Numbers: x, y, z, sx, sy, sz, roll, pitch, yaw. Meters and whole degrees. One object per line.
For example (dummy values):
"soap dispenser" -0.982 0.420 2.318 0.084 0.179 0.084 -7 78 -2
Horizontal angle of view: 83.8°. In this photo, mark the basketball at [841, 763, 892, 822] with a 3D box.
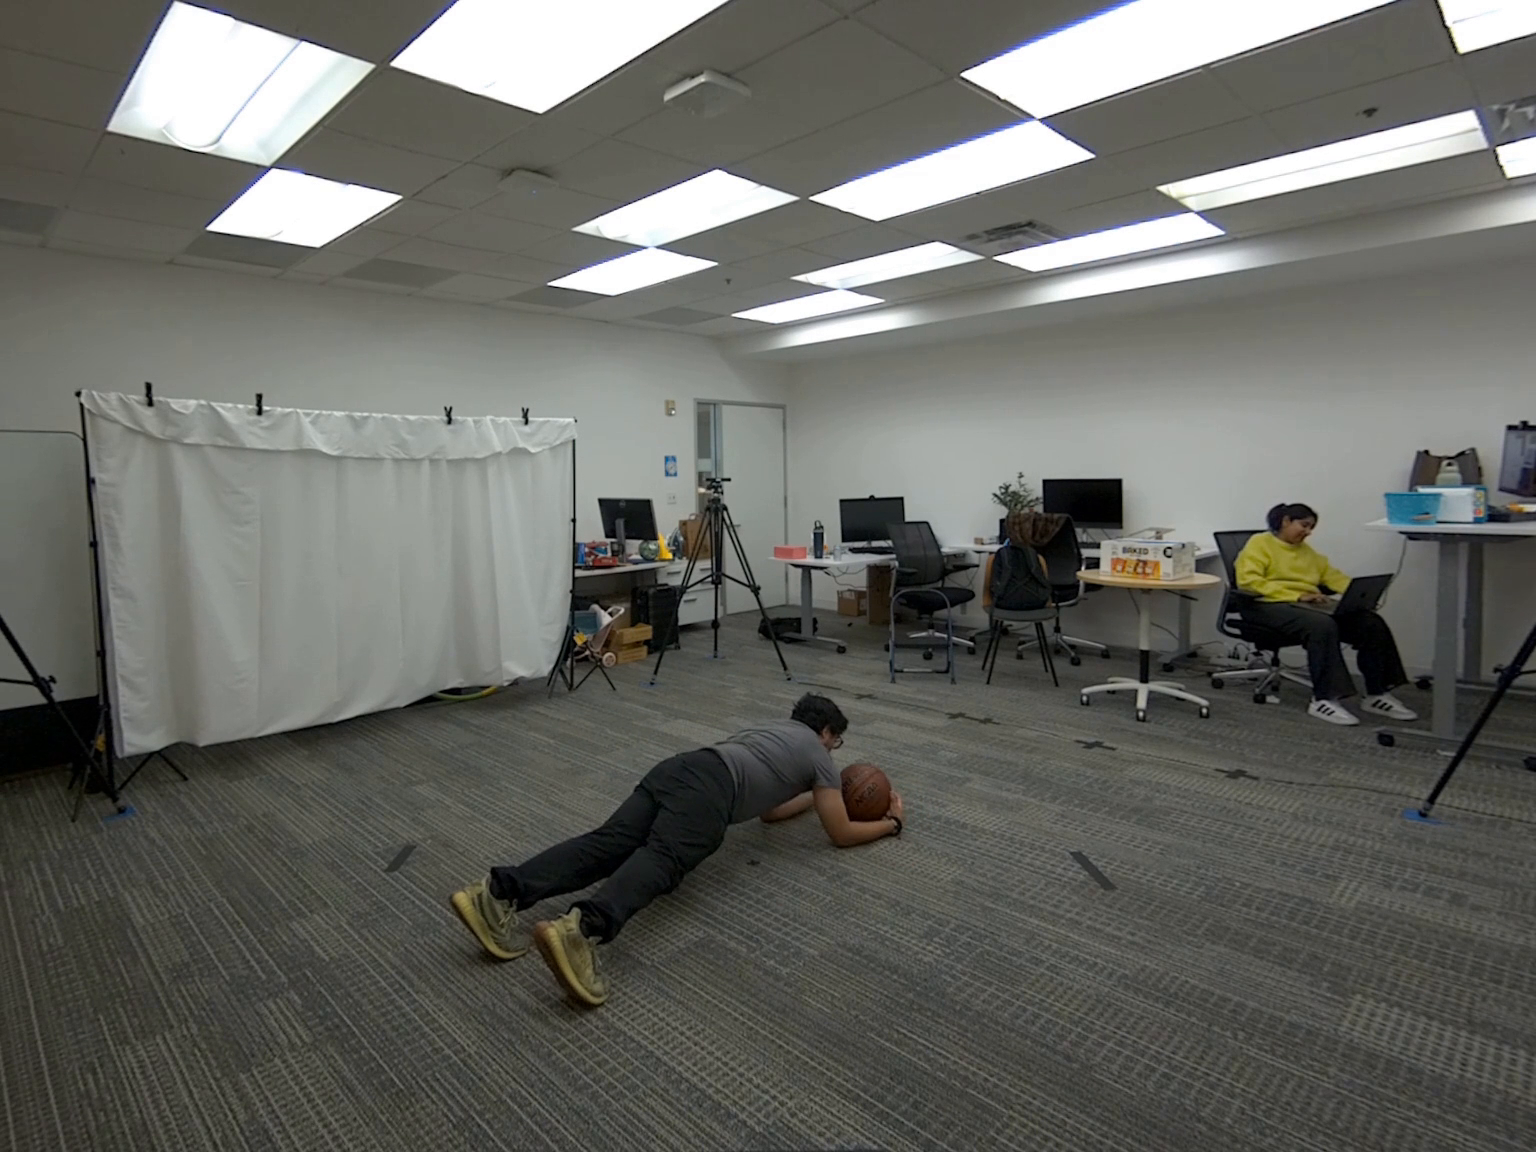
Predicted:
"basketball" 0.373 0.874 3.428 0.236 0.235 0.237 -1 5 -2
